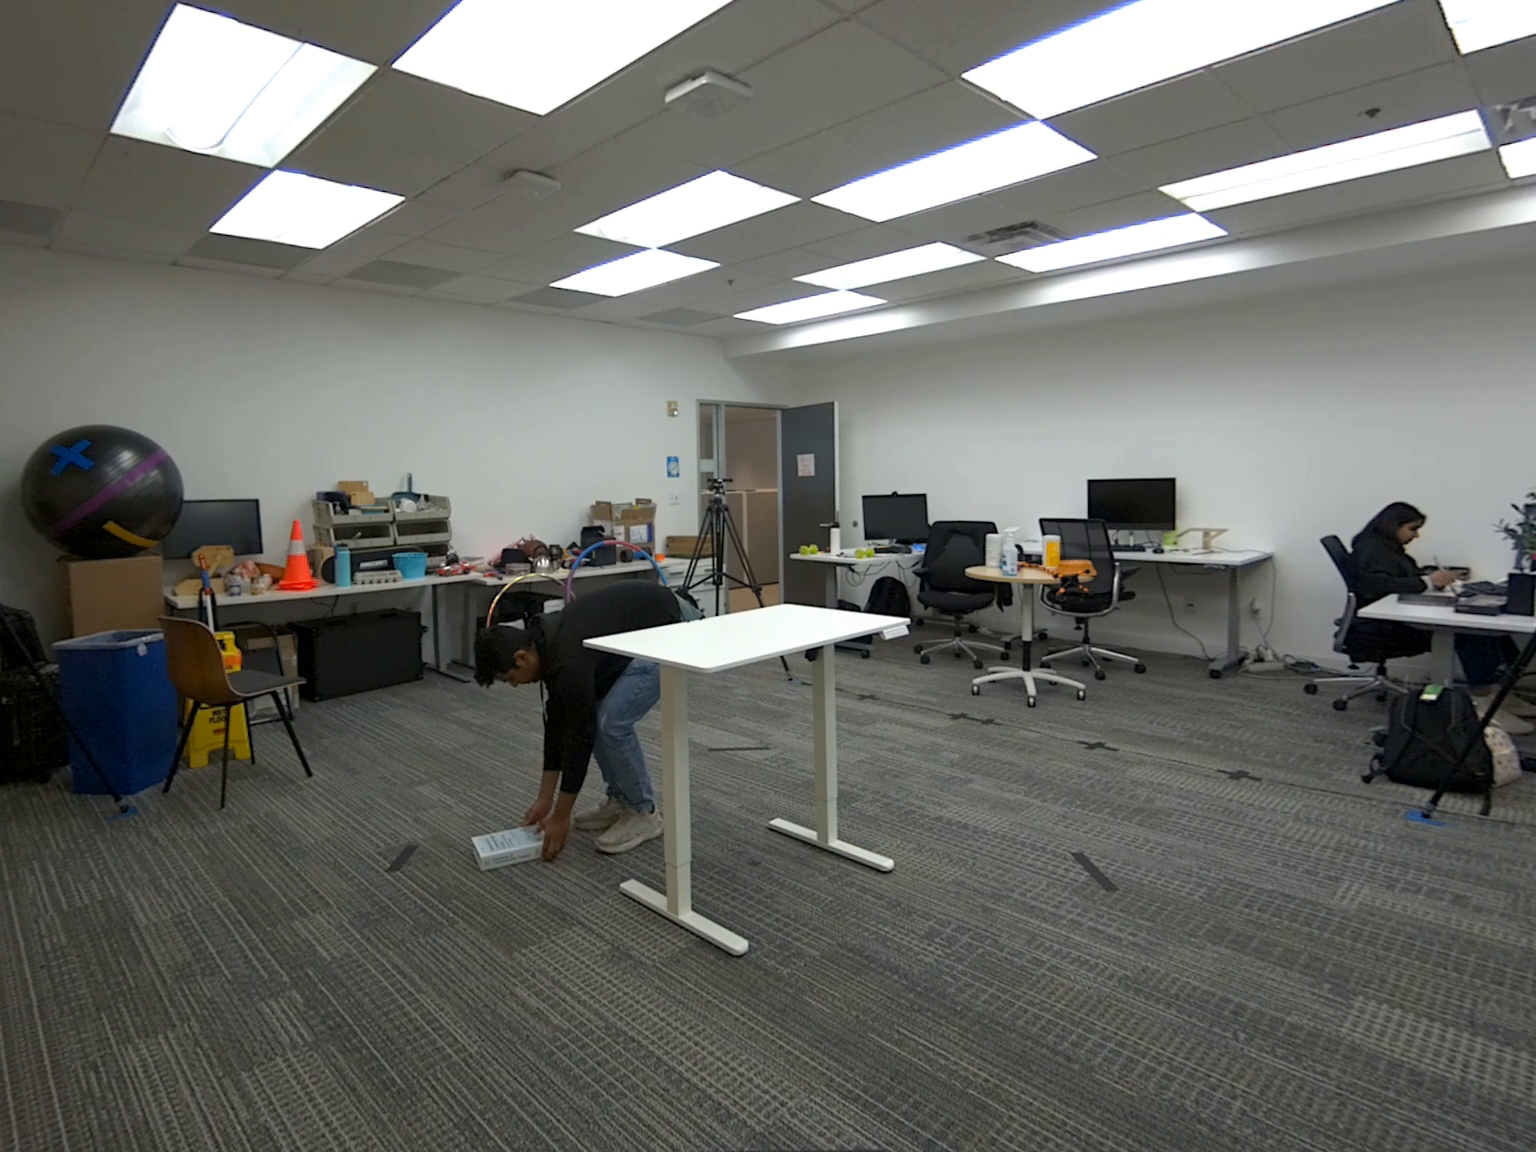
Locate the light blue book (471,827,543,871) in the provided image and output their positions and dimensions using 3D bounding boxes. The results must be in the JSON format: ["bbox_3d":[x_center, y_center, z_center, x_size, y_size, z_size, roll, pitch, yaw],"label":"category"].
[{"bbox_3d":[-0.962,1.020,3.219,0.255,0.059,0.196,-5,7,-28],"label":"light blue book"}]
